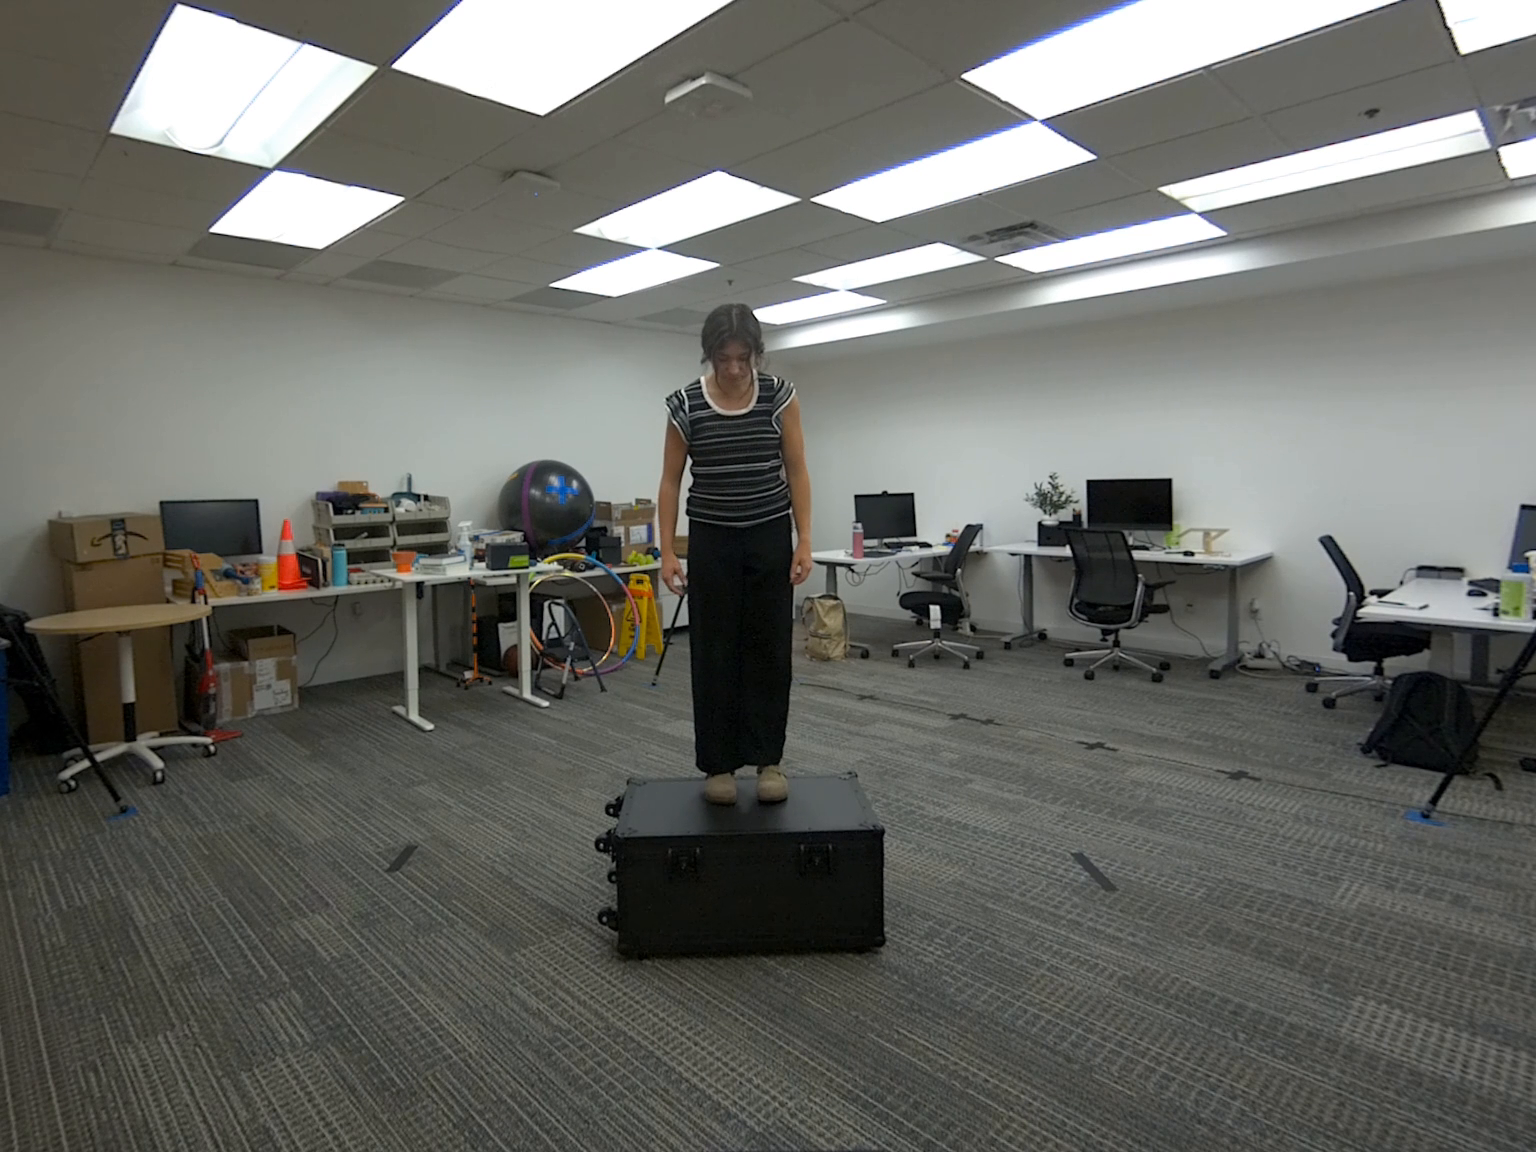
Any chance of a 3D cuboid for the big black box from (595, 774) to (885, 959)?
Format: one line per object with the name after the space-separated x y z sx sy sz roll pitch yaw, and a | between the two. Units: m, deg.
-0.099 0.899 2.717 0.860 0.395 0.524 -1 5 -3 | big black box
